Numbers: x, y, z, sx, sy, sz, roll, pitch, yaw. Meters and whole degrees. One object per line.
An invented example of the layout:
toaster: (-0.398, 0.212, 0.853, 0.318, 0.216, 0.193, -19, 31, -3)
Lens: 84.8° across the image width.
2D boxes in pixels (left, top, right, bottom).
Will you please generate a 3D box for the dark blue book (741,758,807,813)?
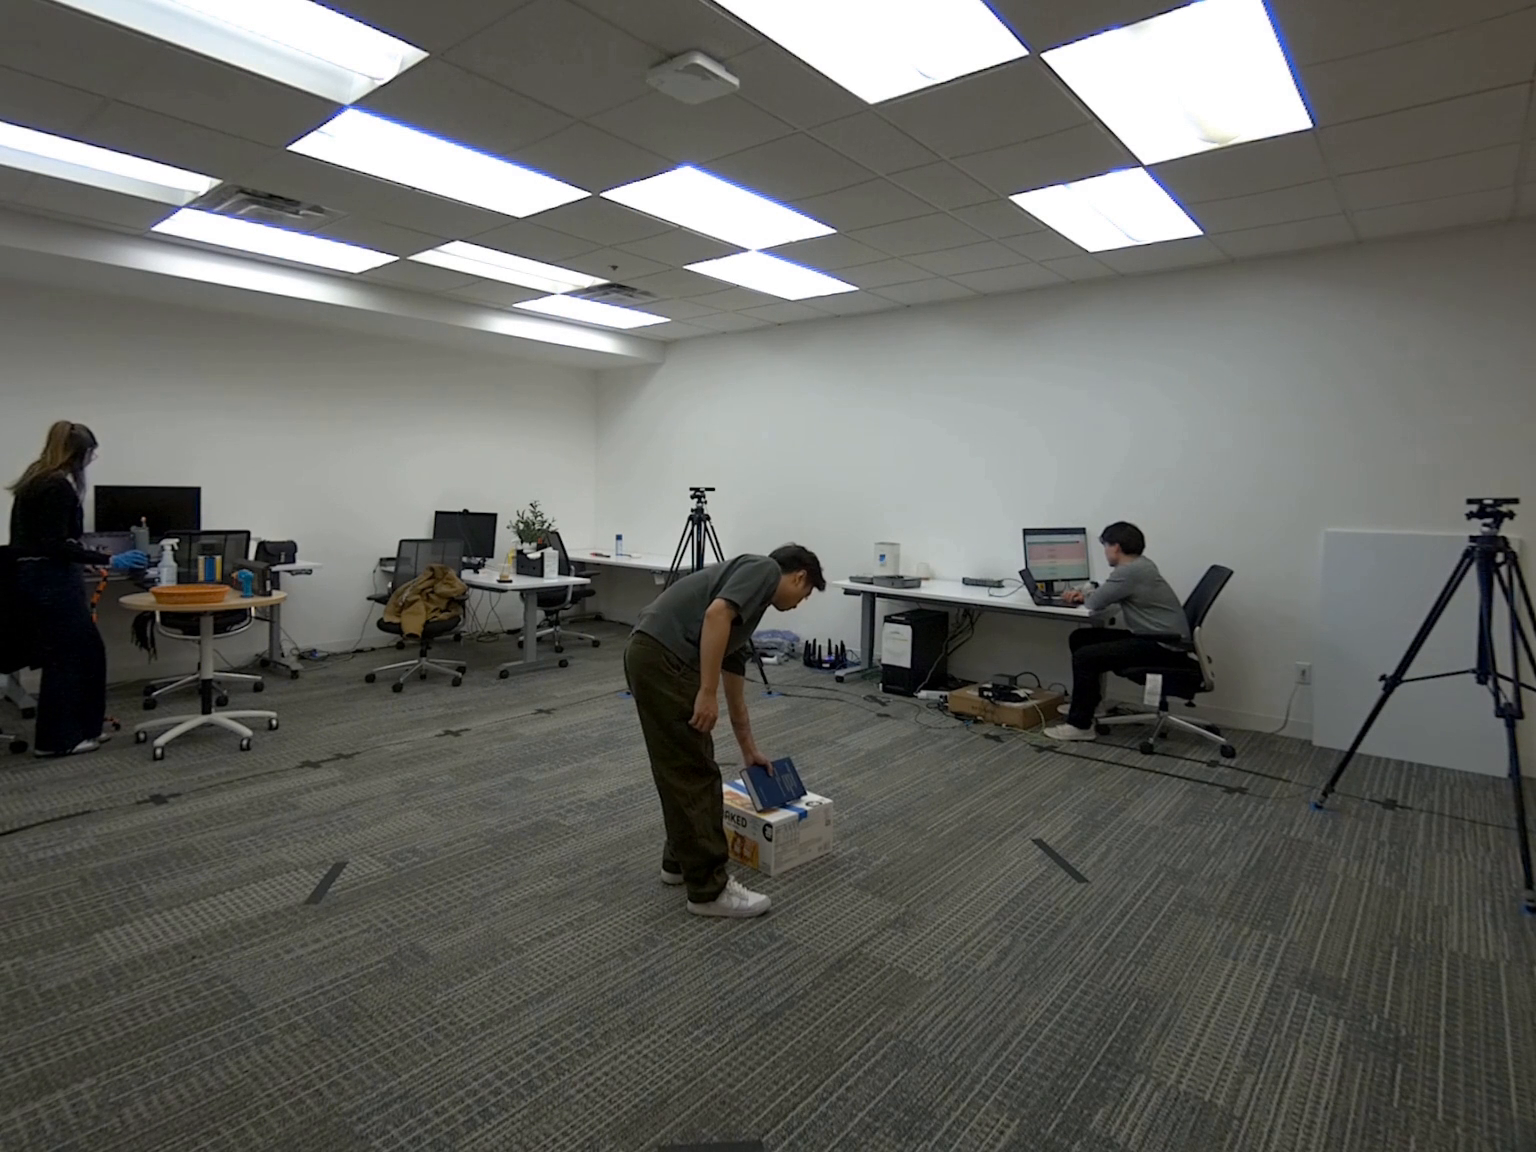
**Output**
dark blue book: (0.020, 0.789, 3.241, 0.238, 0.168, 0.045, -3, -33, -44)
